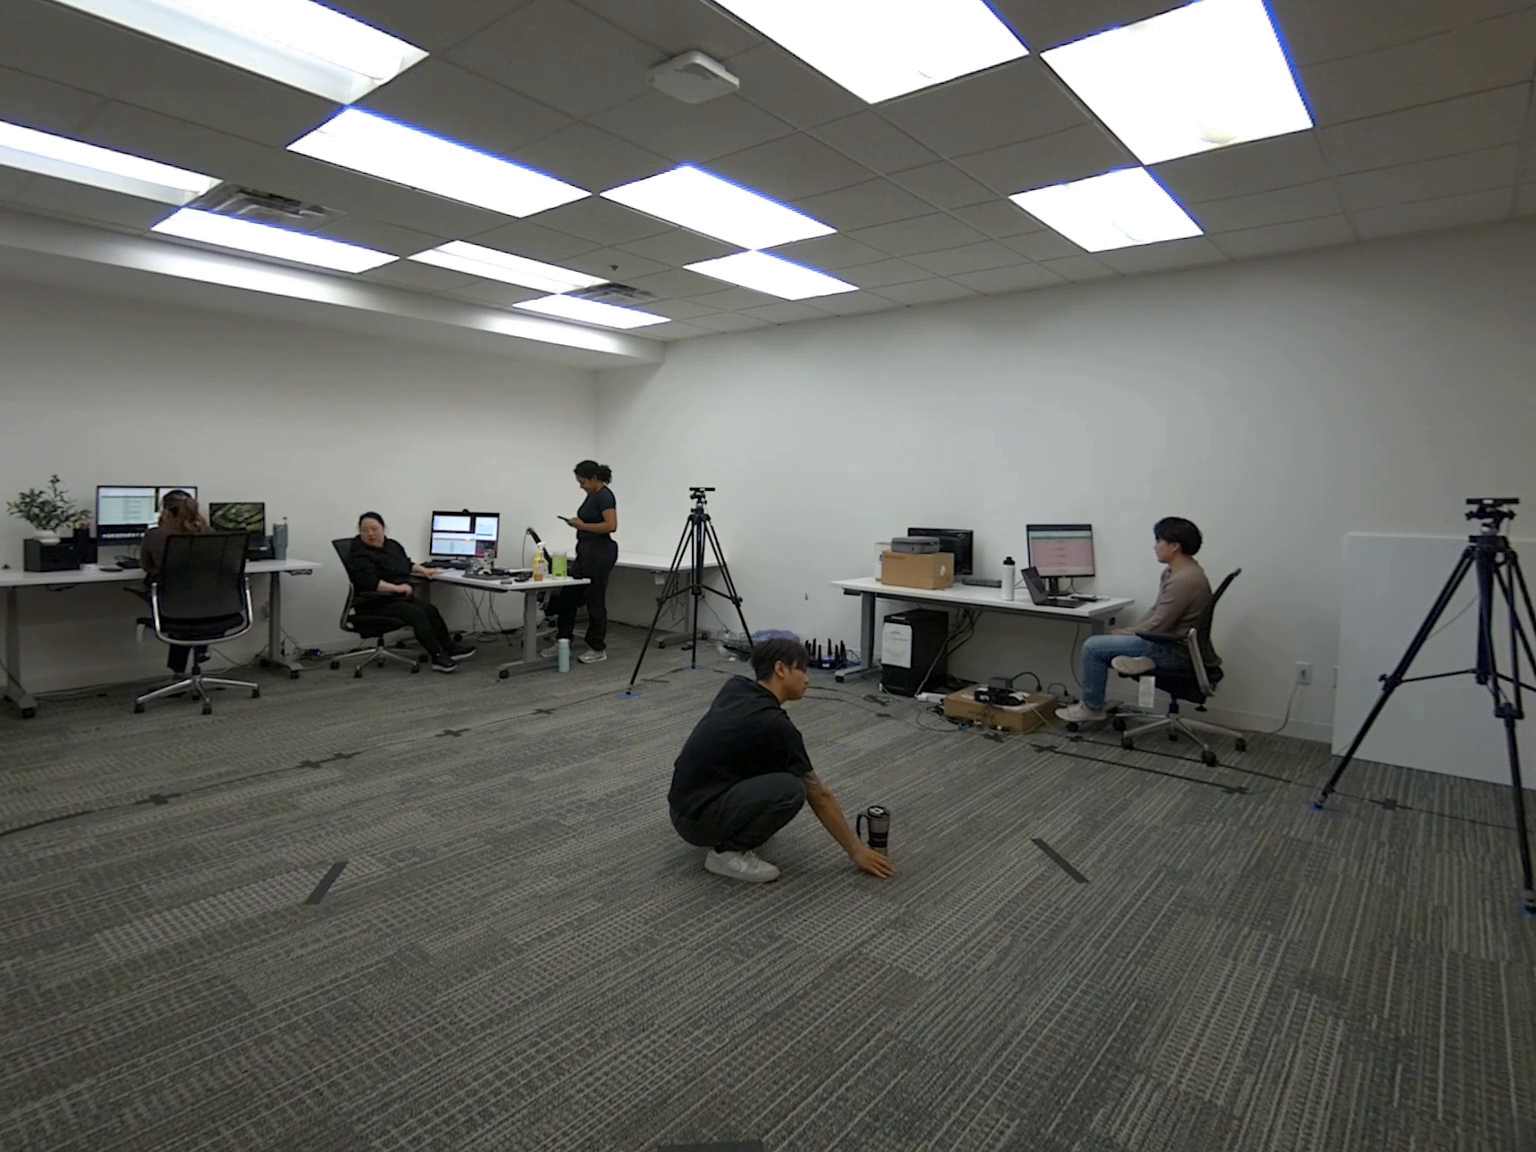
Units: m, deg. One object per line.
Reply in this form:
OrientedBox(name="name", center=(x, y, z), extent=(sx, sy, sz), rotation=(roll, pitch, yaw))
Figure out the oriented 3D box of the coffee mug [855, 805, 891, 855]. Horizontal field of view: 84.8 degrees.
OrientedBox(name="coffee mug", center=(0.390, 0.977, 3.196), extent=(0.126, 0.201, 0.086), rotation=(7, 13, 38))
